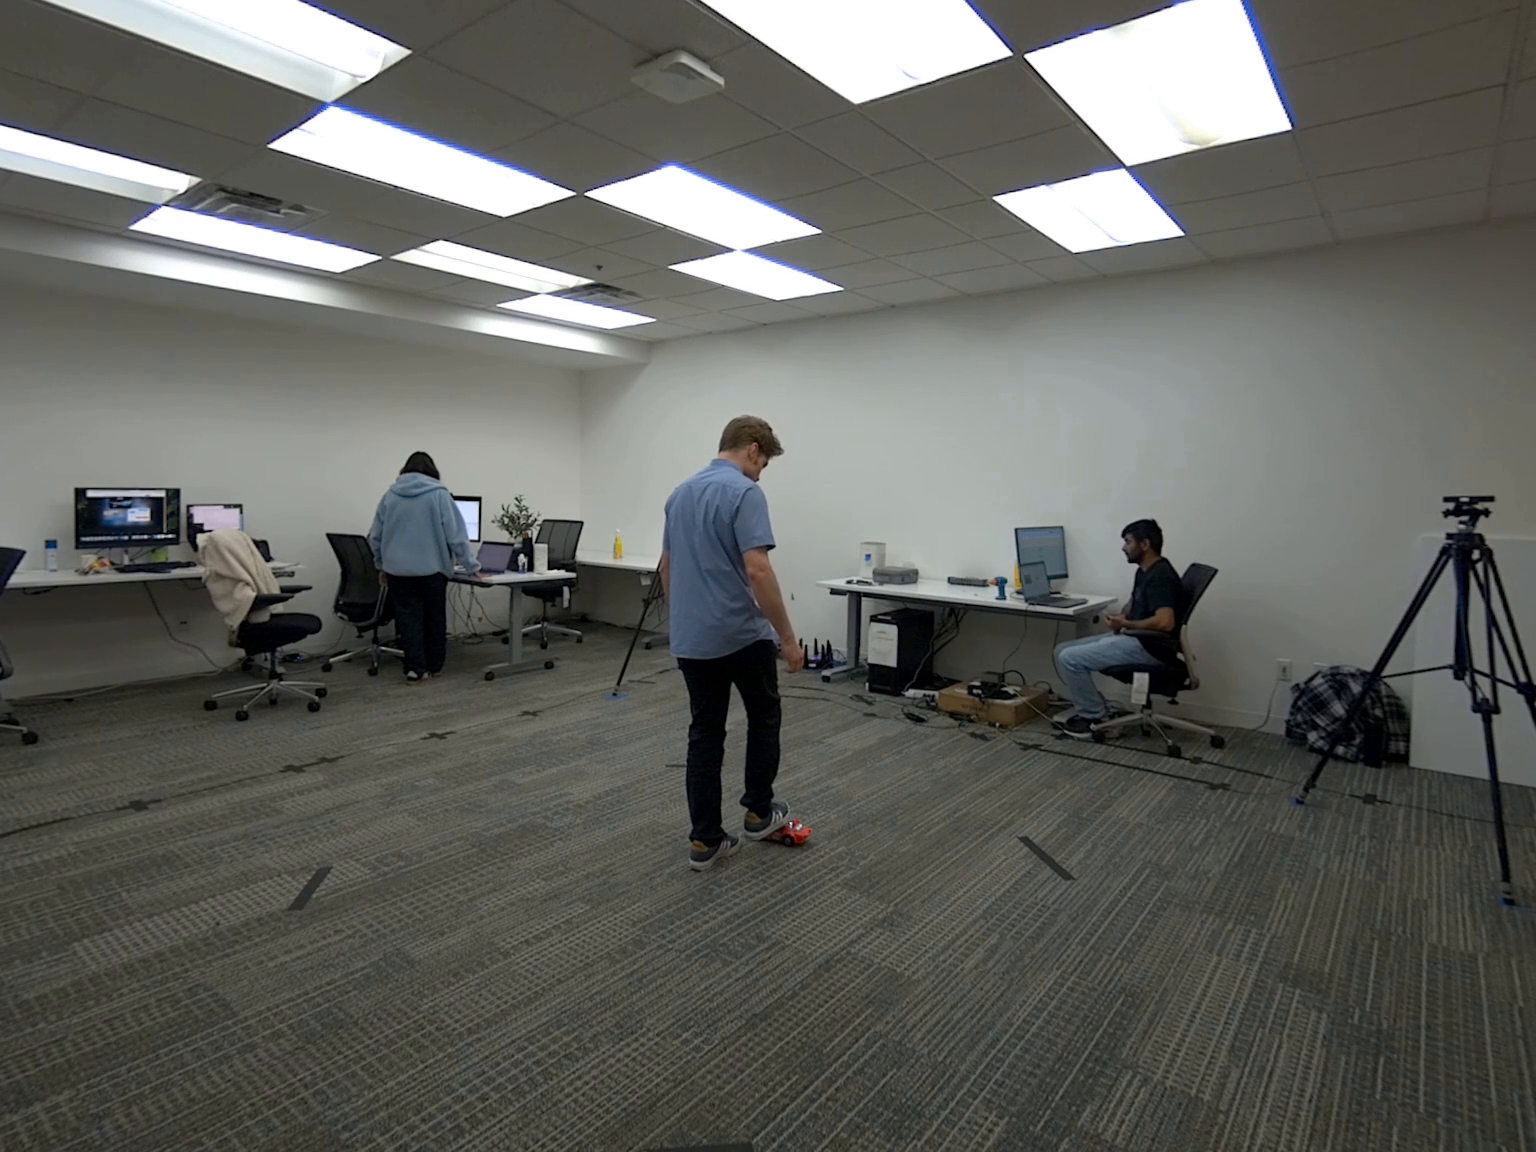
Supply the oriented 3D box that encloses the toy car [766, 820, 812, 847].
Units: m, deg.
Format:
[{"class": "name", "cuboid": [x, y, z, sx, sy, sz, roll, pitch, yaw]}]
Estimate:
[{"class": "toy car", "cuboid": [0.053, 1.016, 3.381, 0.260, 0.083, 0.127, -9, -1, 25]}]
